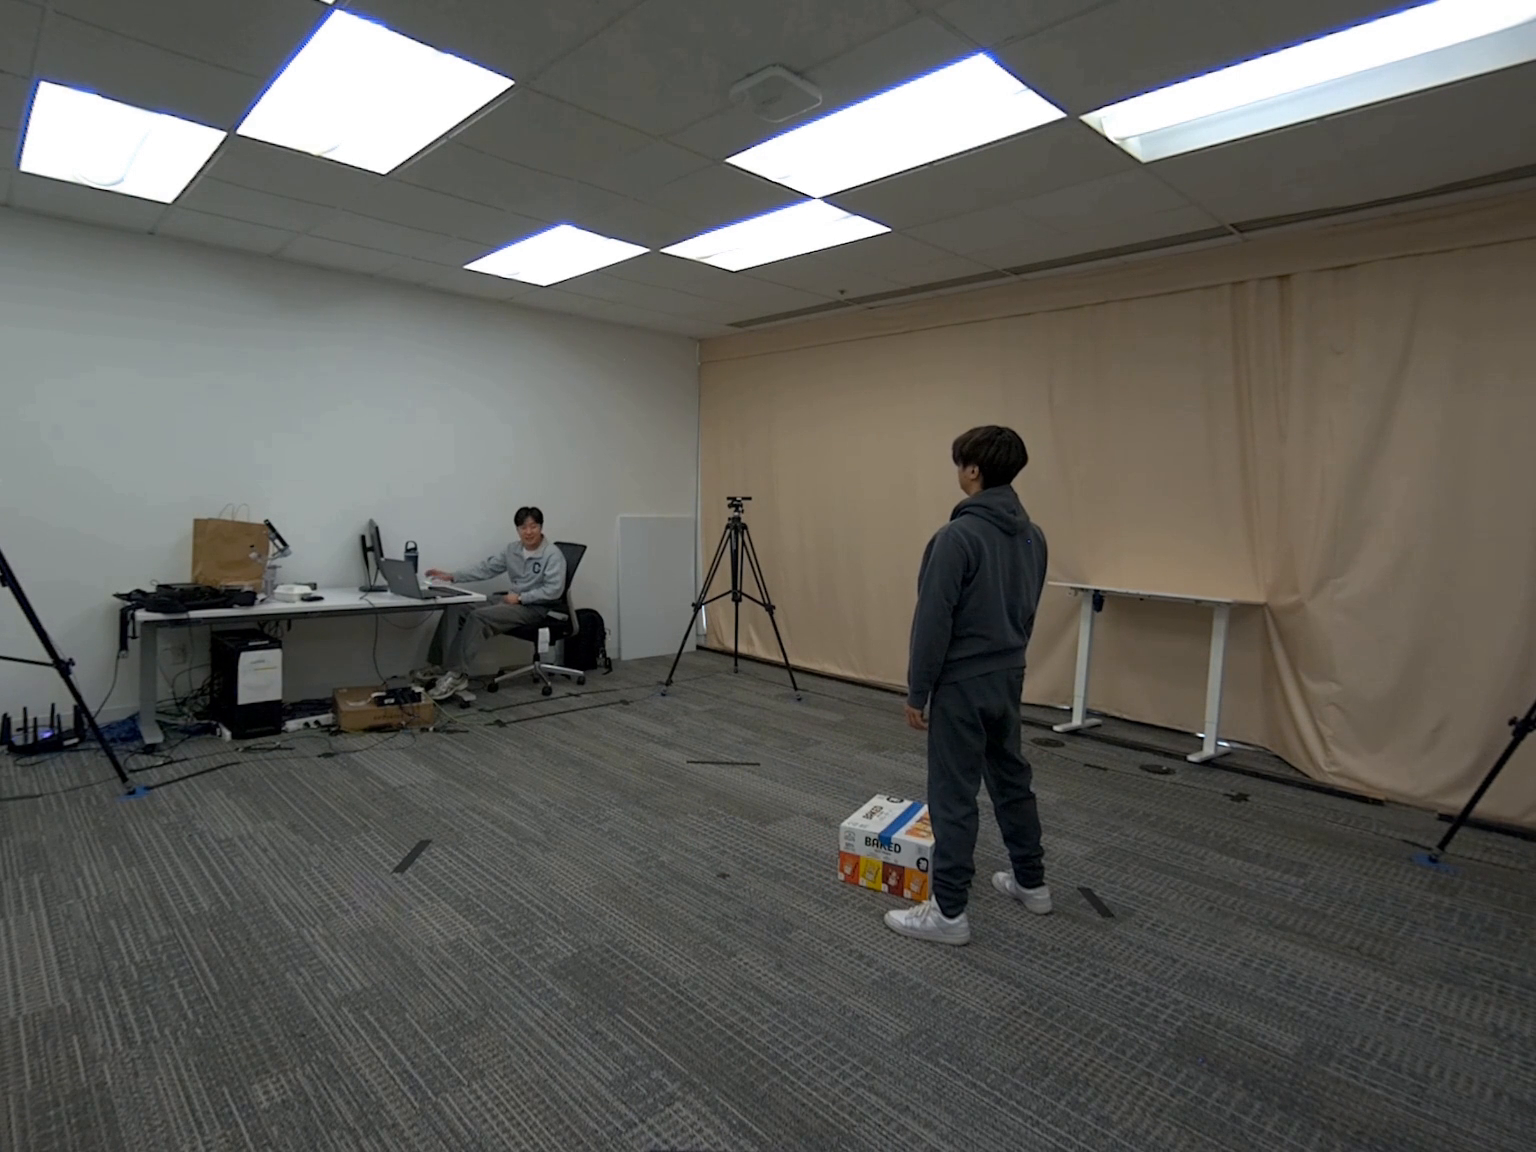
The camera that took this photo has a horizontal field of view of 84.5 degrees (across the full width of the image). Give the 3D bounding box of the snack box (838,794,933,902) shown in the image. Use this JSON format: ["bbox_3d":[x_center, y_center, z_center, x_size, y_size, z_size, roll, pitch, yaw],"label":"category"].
[{"bbox_3d":[0.494,1.013,3.173,0.348,0.205,0.397,4,5,29],"label":"snack box"}]
